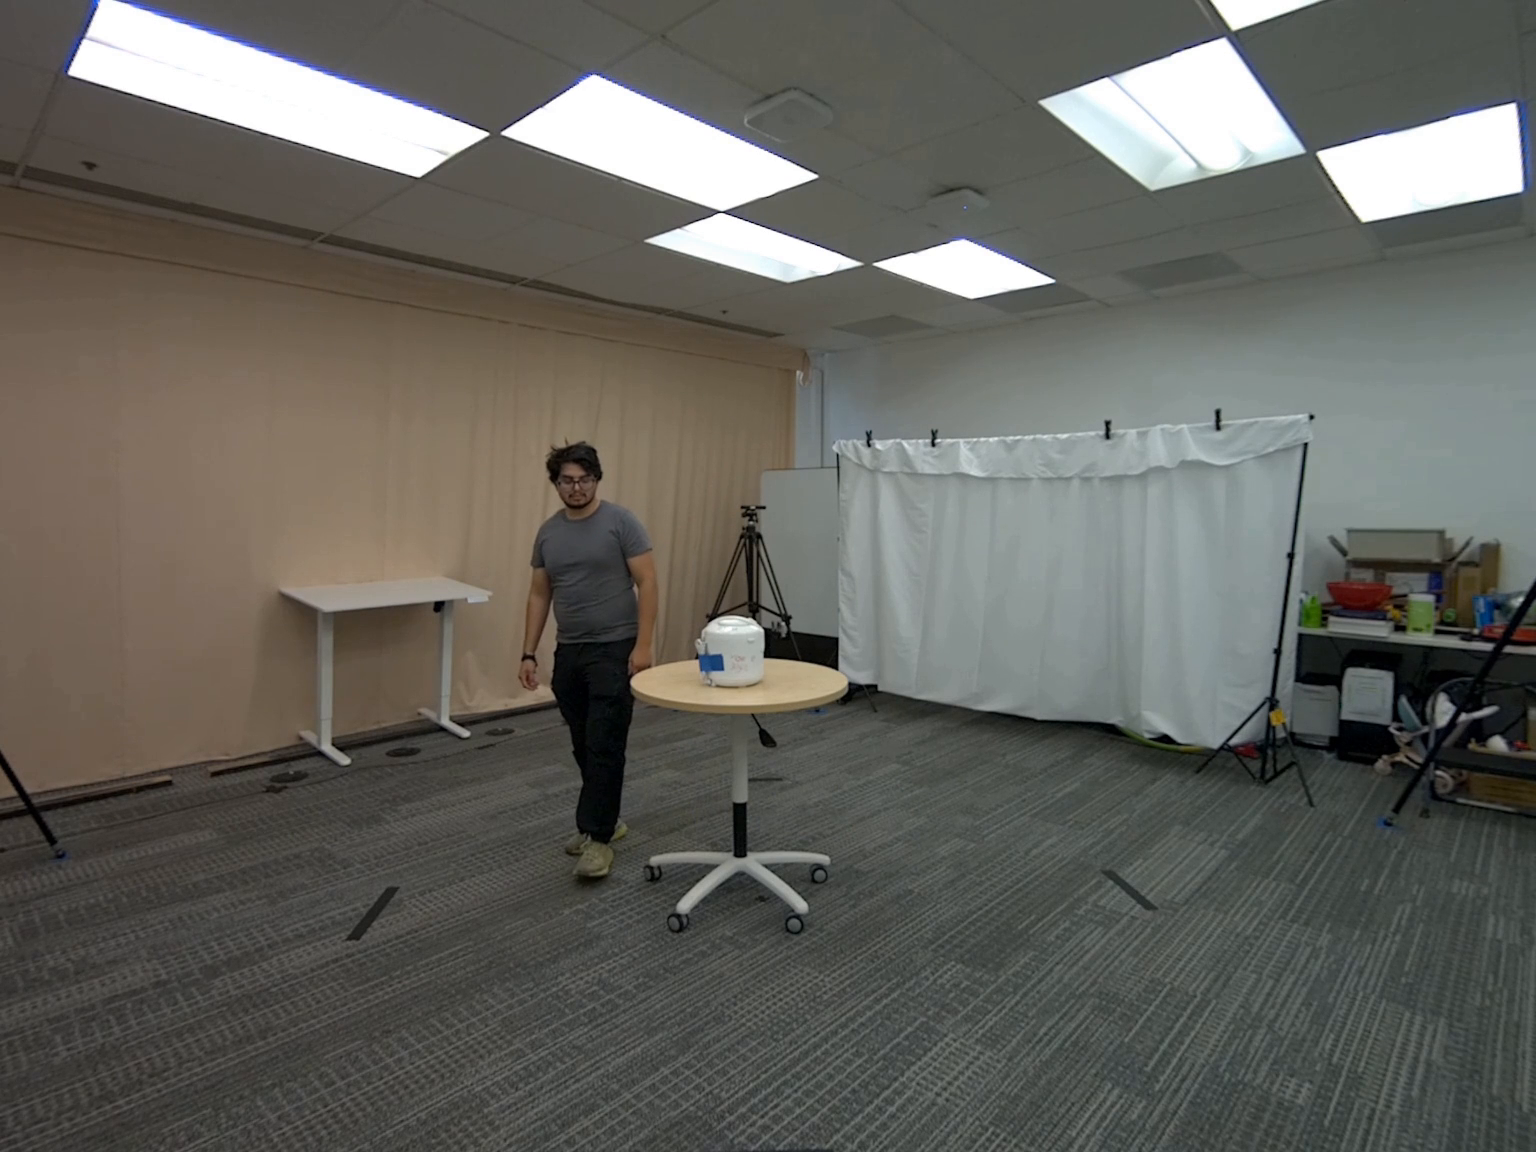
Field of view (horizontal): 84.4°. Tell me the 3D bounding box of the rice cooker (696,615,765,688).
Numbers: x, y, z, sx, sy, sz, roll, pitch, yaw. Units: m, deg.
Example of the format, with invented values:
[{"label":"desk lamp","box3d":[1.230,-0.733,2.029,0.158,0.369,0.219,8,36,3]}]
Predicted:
[{"label":"rice cooker","box3d":[-0.117,0.253,2.916,0.224,0.232,0.214,1,4,16]}]
